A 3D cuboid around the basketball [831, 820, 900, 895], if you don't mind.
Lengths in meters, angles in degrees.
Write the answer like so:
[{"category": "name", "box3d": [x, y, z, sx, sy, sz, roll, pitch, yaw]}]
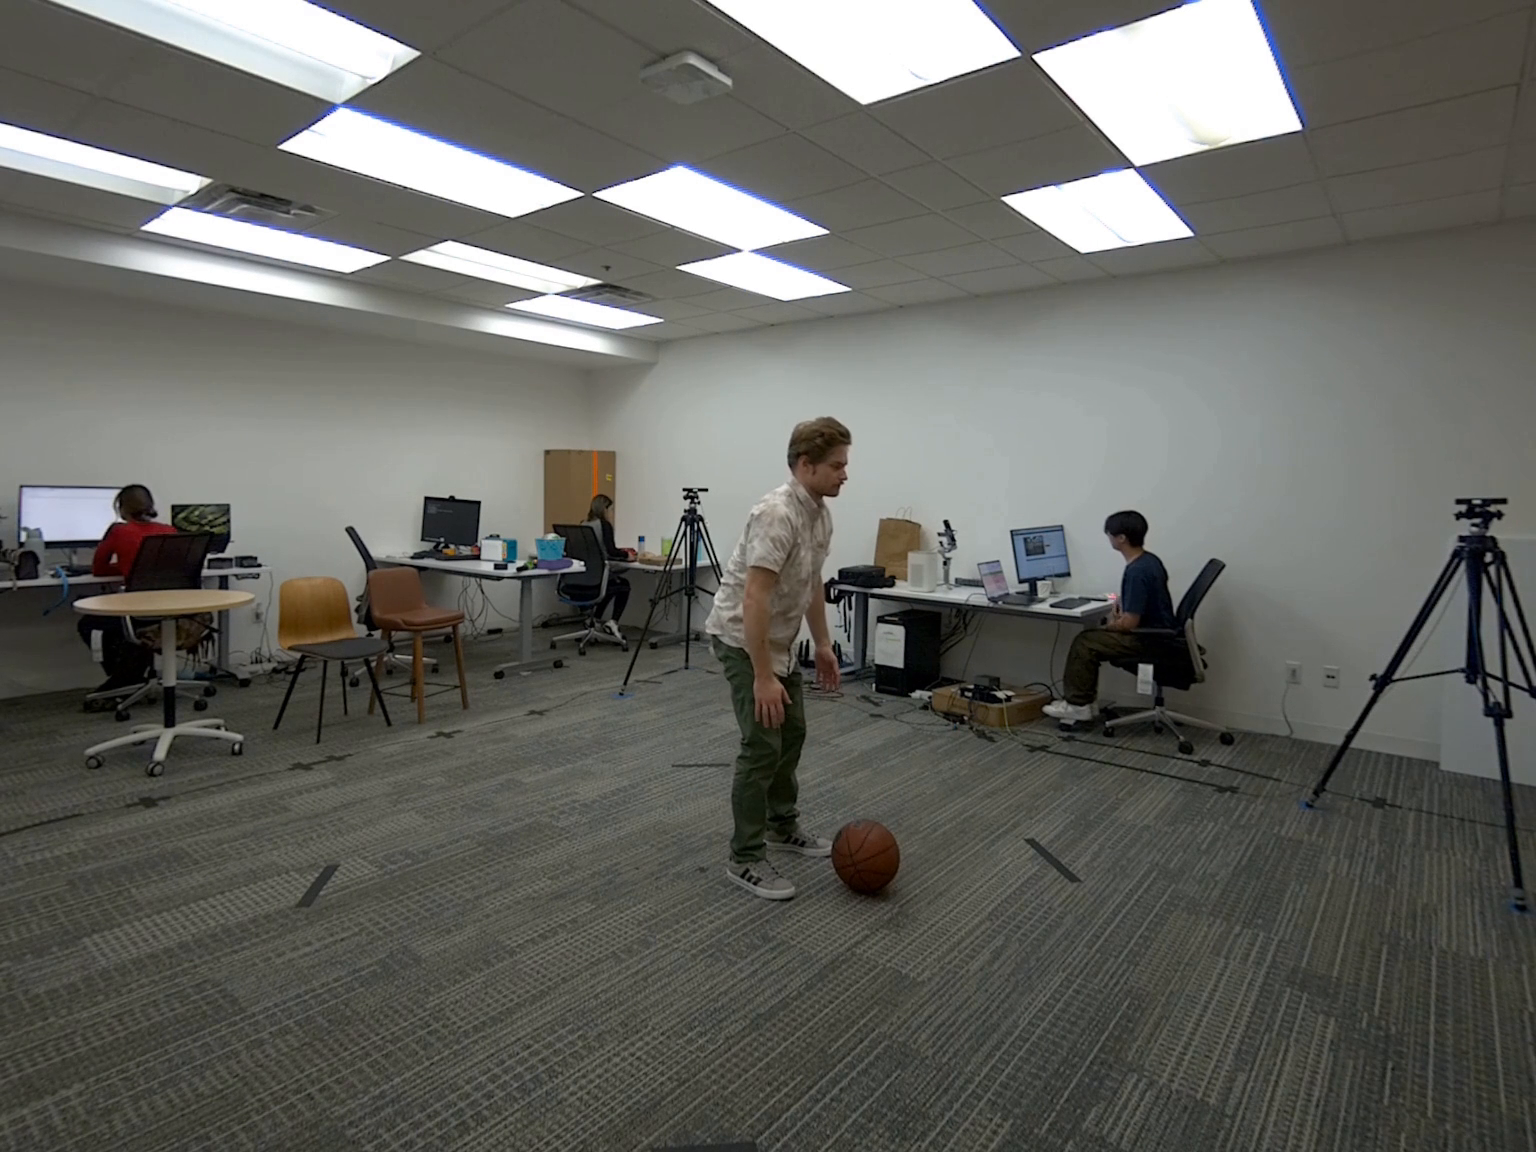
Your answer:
[{"category": "basketball", "box3d": [0.329, 0.977, 2.986, 0.236, 0.235, 0.237, 1, 4, -2]}]
